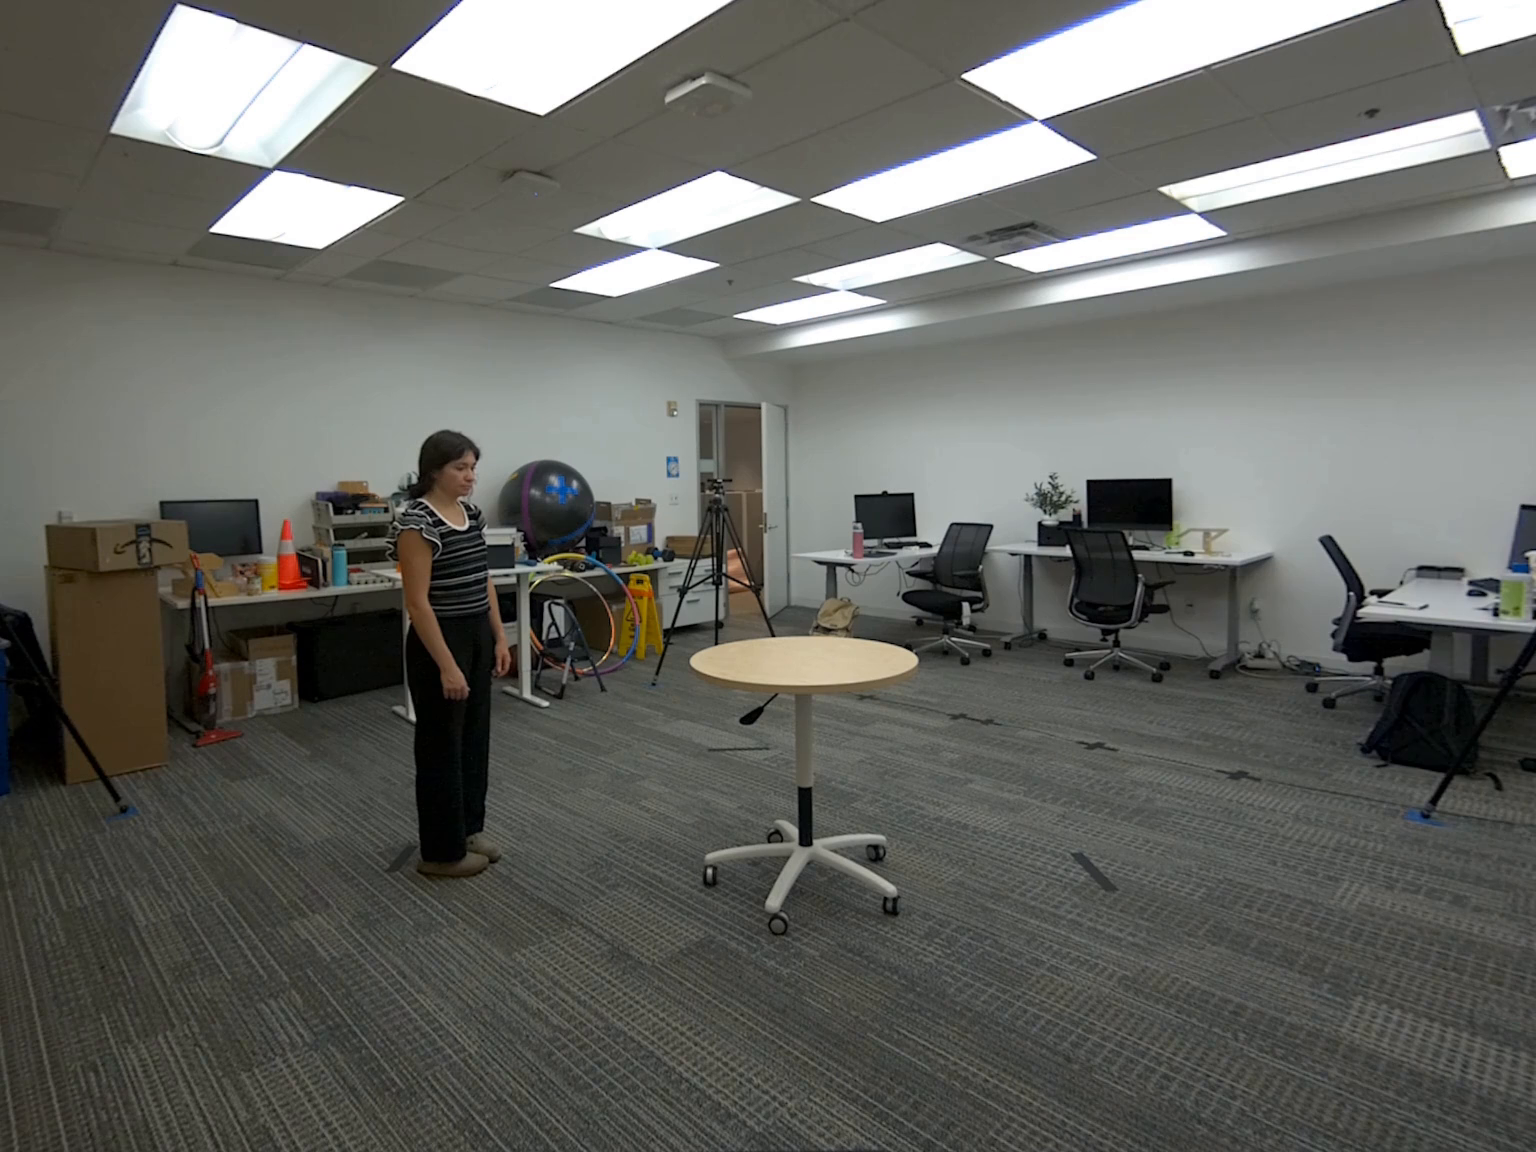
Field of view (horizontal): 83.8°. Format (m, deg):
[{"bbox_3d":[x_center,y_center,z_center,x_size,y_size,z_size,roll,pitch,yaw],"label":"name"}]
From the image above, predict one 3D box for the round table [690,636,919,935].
[{"bbox_3d":[0.125,0.664,2.933,0.784,0.783,0.789,-2,5,-2],"label":"round table"}]
